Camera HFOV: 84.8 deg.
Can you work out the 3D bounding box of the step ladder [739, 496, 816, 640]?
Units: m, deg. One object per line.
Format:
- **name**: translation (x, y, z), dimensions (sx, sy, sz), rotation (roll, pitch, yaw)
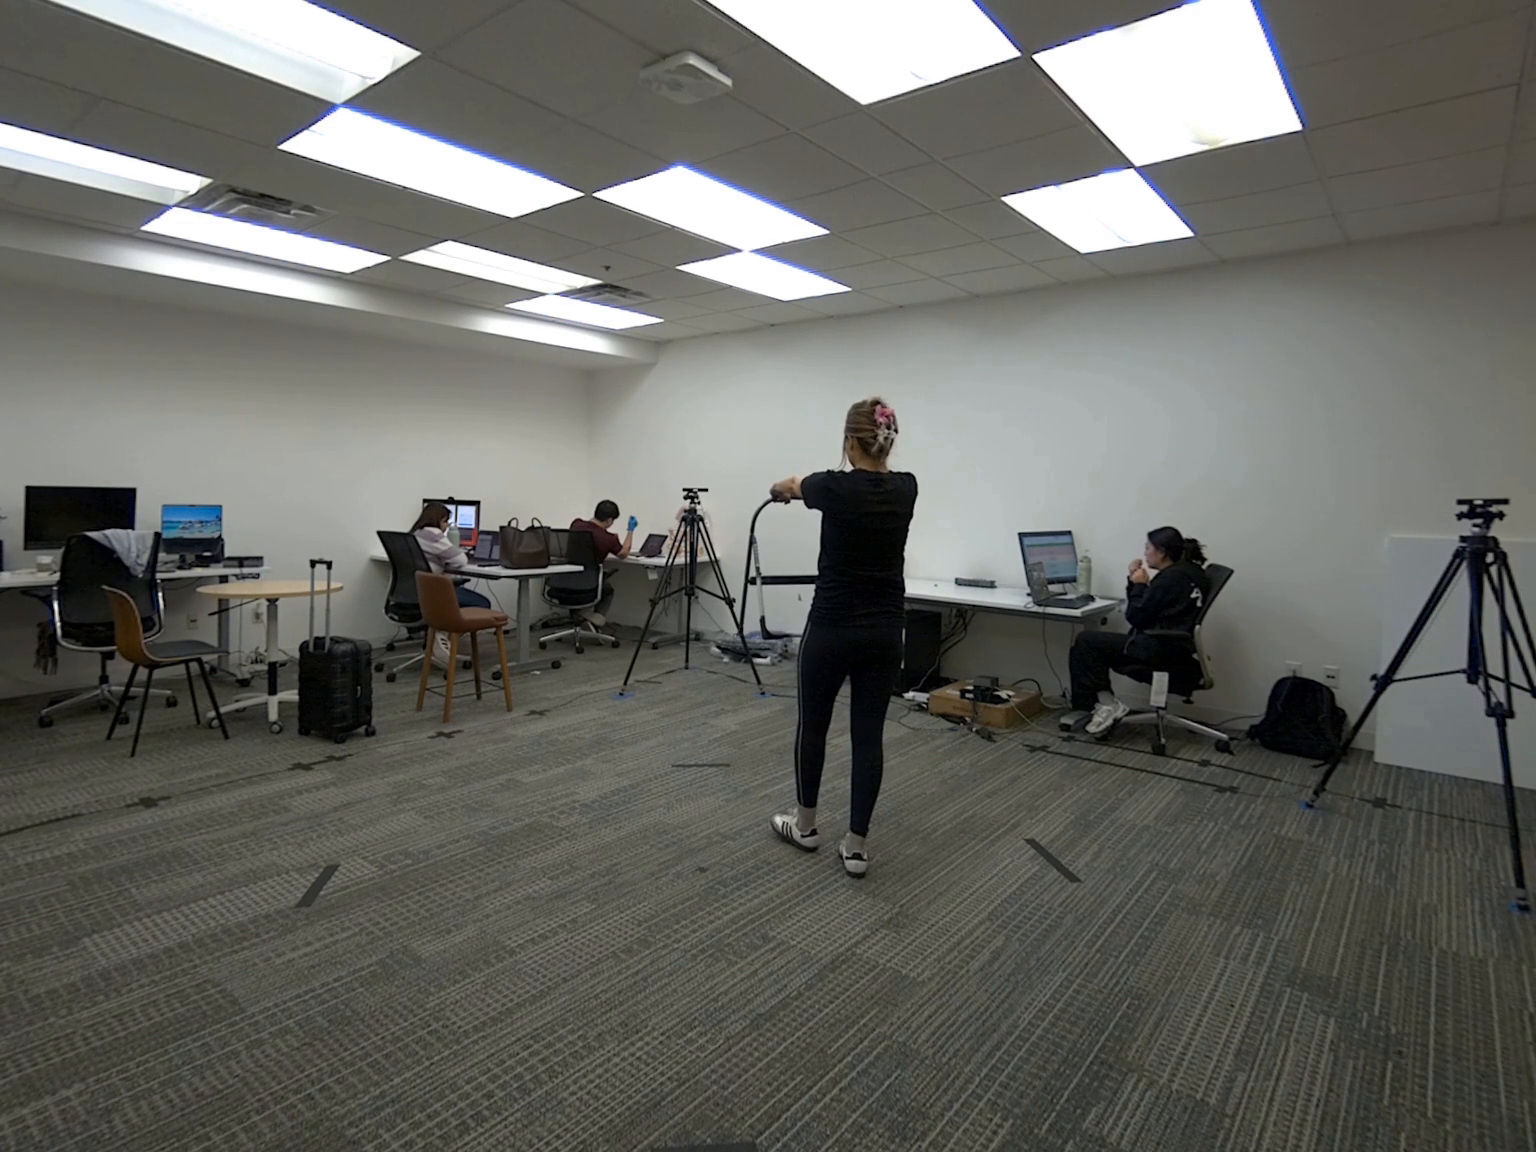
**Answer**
- **step ladder**: translation (0.095, -0.042, 3.692), dimensions (0.422, 0.608, 0.355), rotation (-1, -2, -21)
